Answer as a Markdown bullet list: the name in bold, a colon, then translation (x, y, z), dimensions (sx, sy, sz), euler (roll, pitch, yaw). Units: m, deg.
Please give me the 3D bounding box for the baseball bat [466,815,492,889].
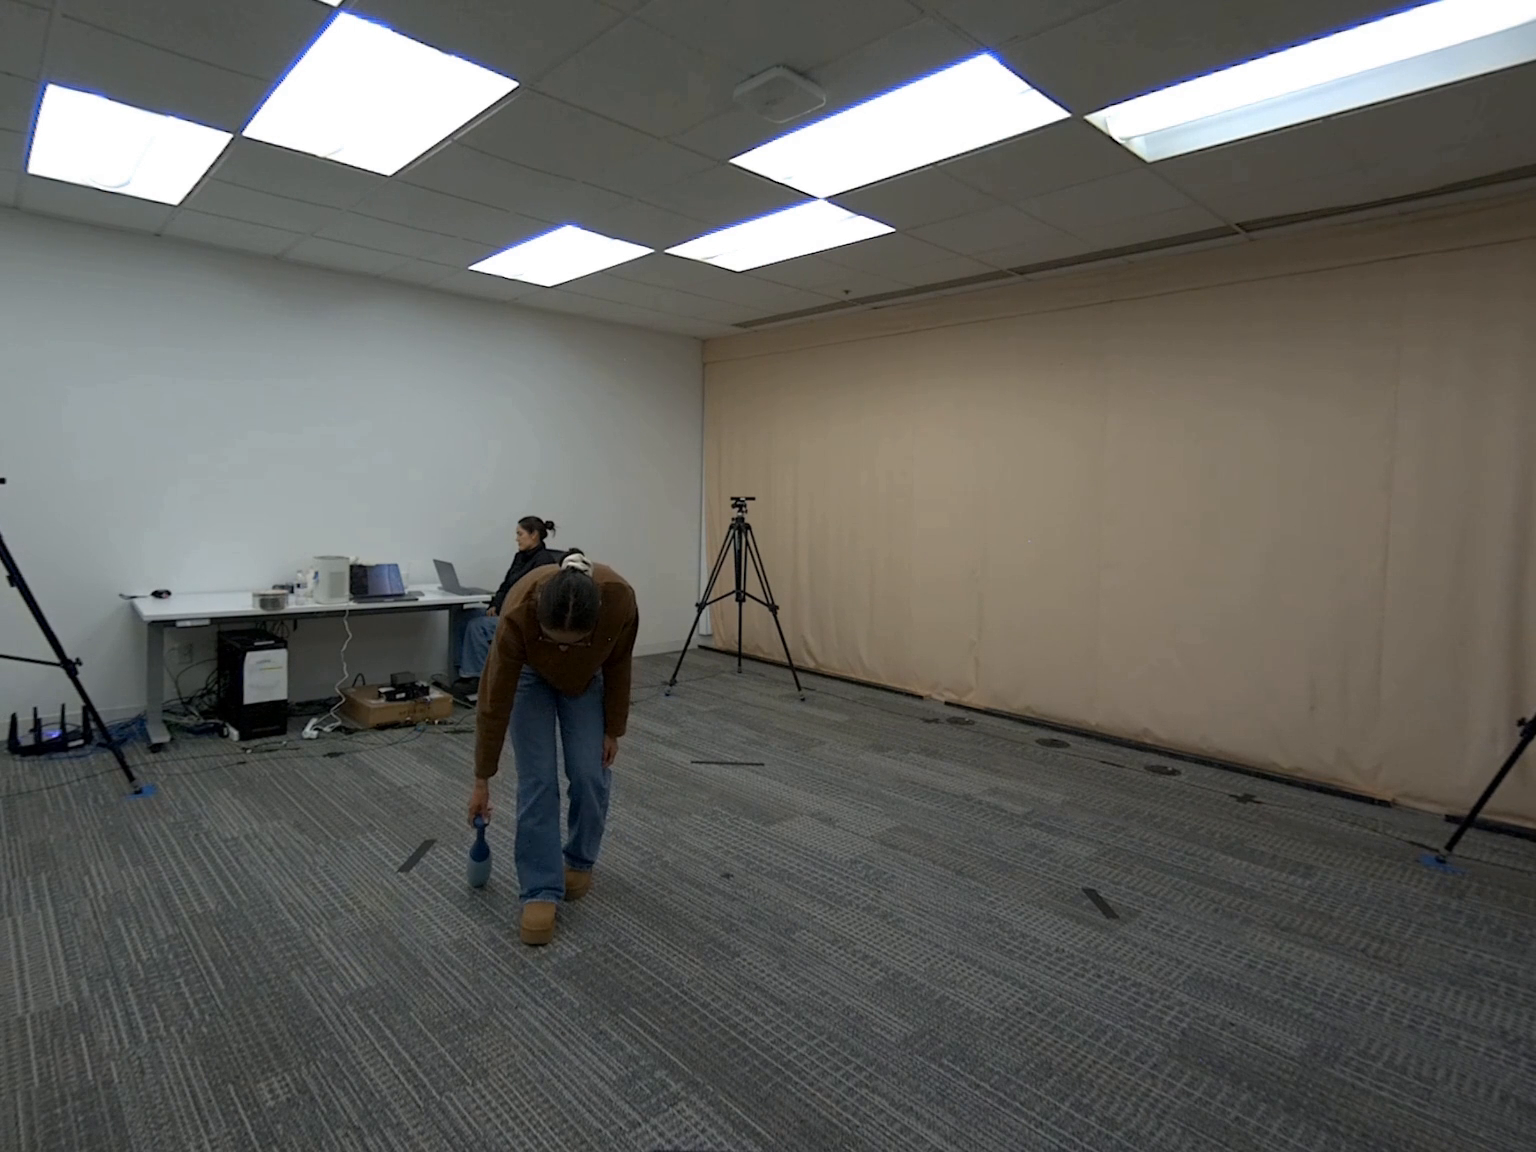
- **baseball bat**: translation (-0.958, 0.910, 2.803), dimensions (0.088, 0.091, 0.537), euler (1, -37, -20)
